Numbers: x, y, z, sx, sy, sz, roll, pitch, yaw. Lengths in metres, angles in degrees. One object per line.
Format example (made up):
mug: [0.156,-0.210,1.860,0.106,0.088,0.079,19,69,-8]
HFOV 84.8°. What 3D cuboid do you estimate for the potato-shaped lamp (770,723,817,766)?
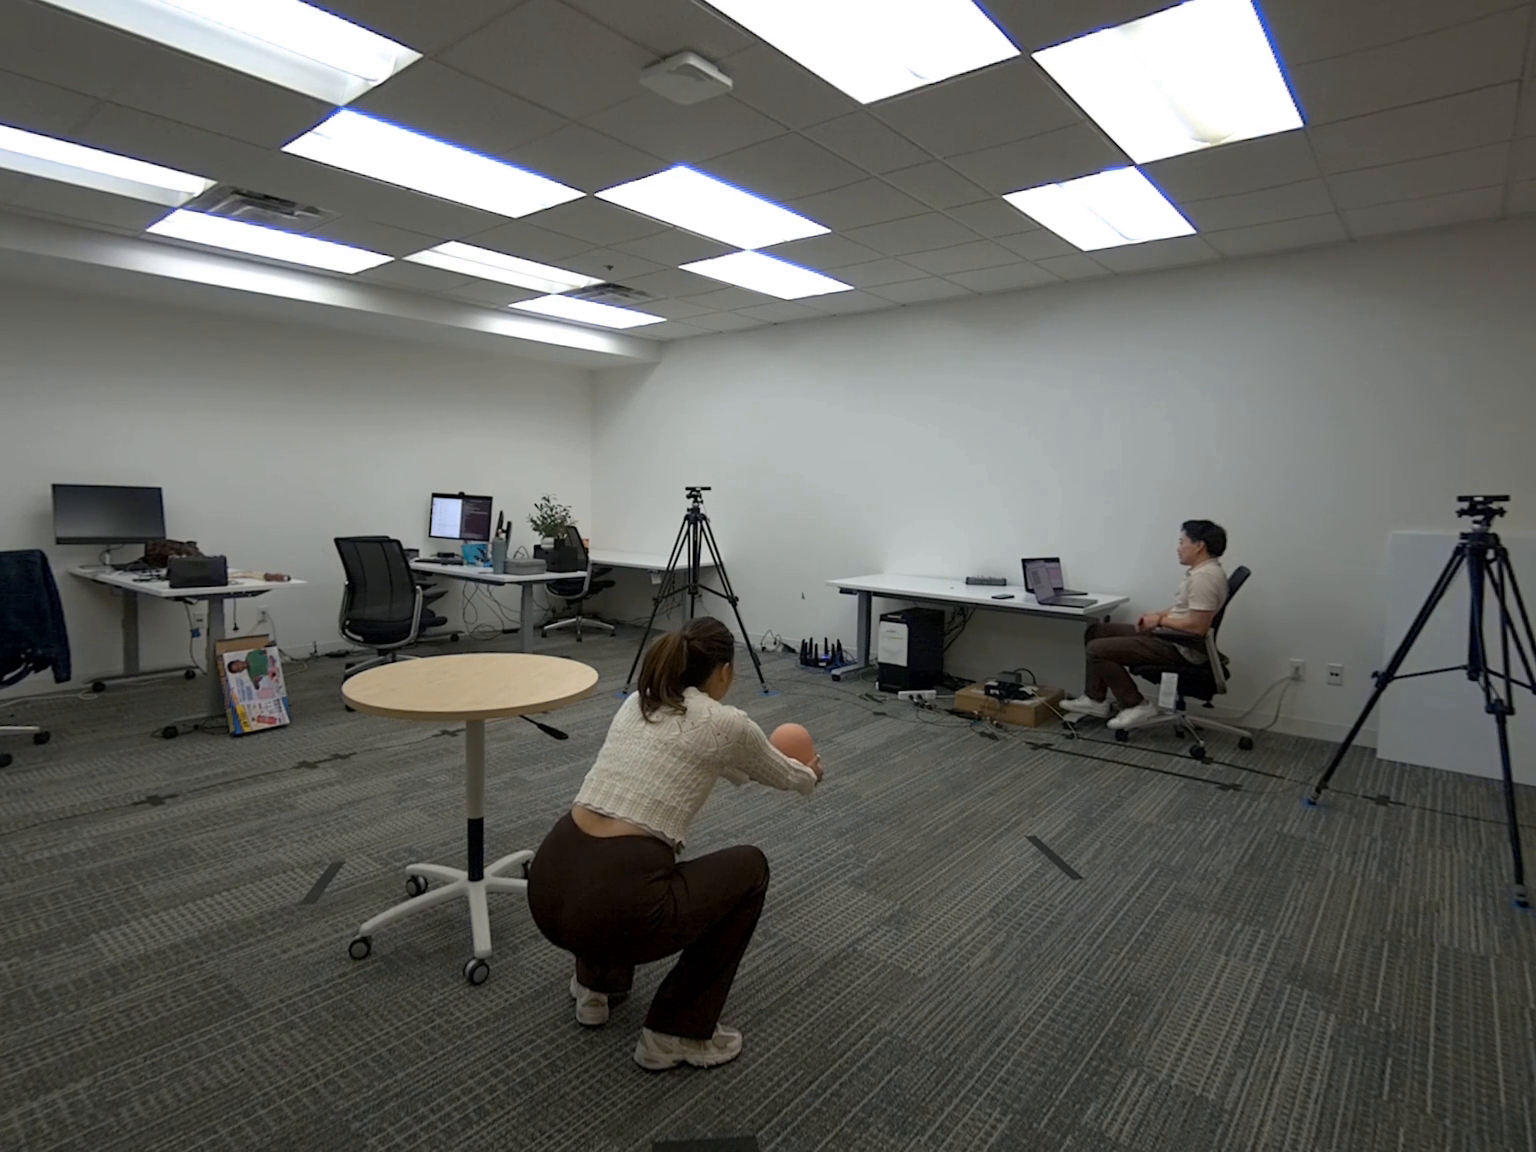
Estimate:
potato-shaped lamp: [0.067,0.574,2.747,0.170,0.199,0.165,-1,-5,37]
